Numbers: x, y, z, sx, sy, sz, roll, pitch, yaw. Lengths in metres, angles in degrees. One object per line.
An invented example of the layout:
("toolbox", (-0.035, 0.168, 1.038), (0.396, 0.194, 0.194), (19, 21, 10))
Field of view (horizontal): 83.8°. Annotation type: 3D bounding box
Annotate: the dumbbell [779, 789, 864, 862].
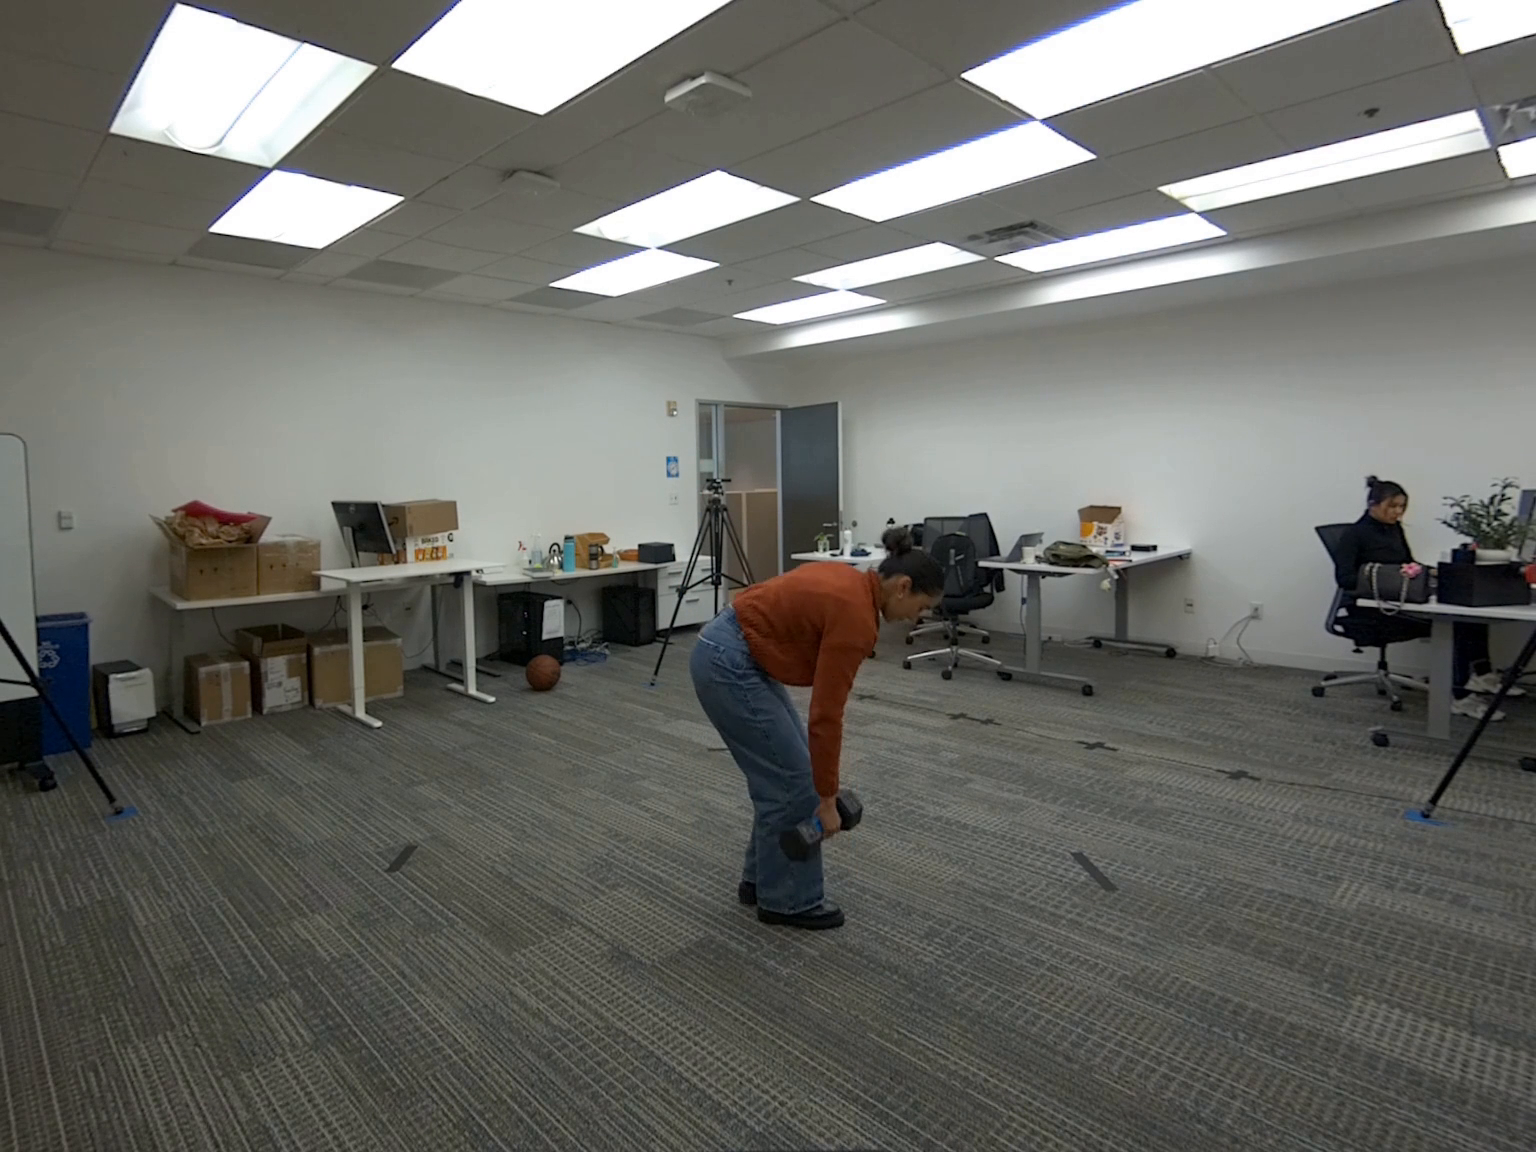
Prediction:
("dumbbell", (0.166, 0.745, 2.536), (0.113, 0.121, 0.287), (21, 25, 38))
